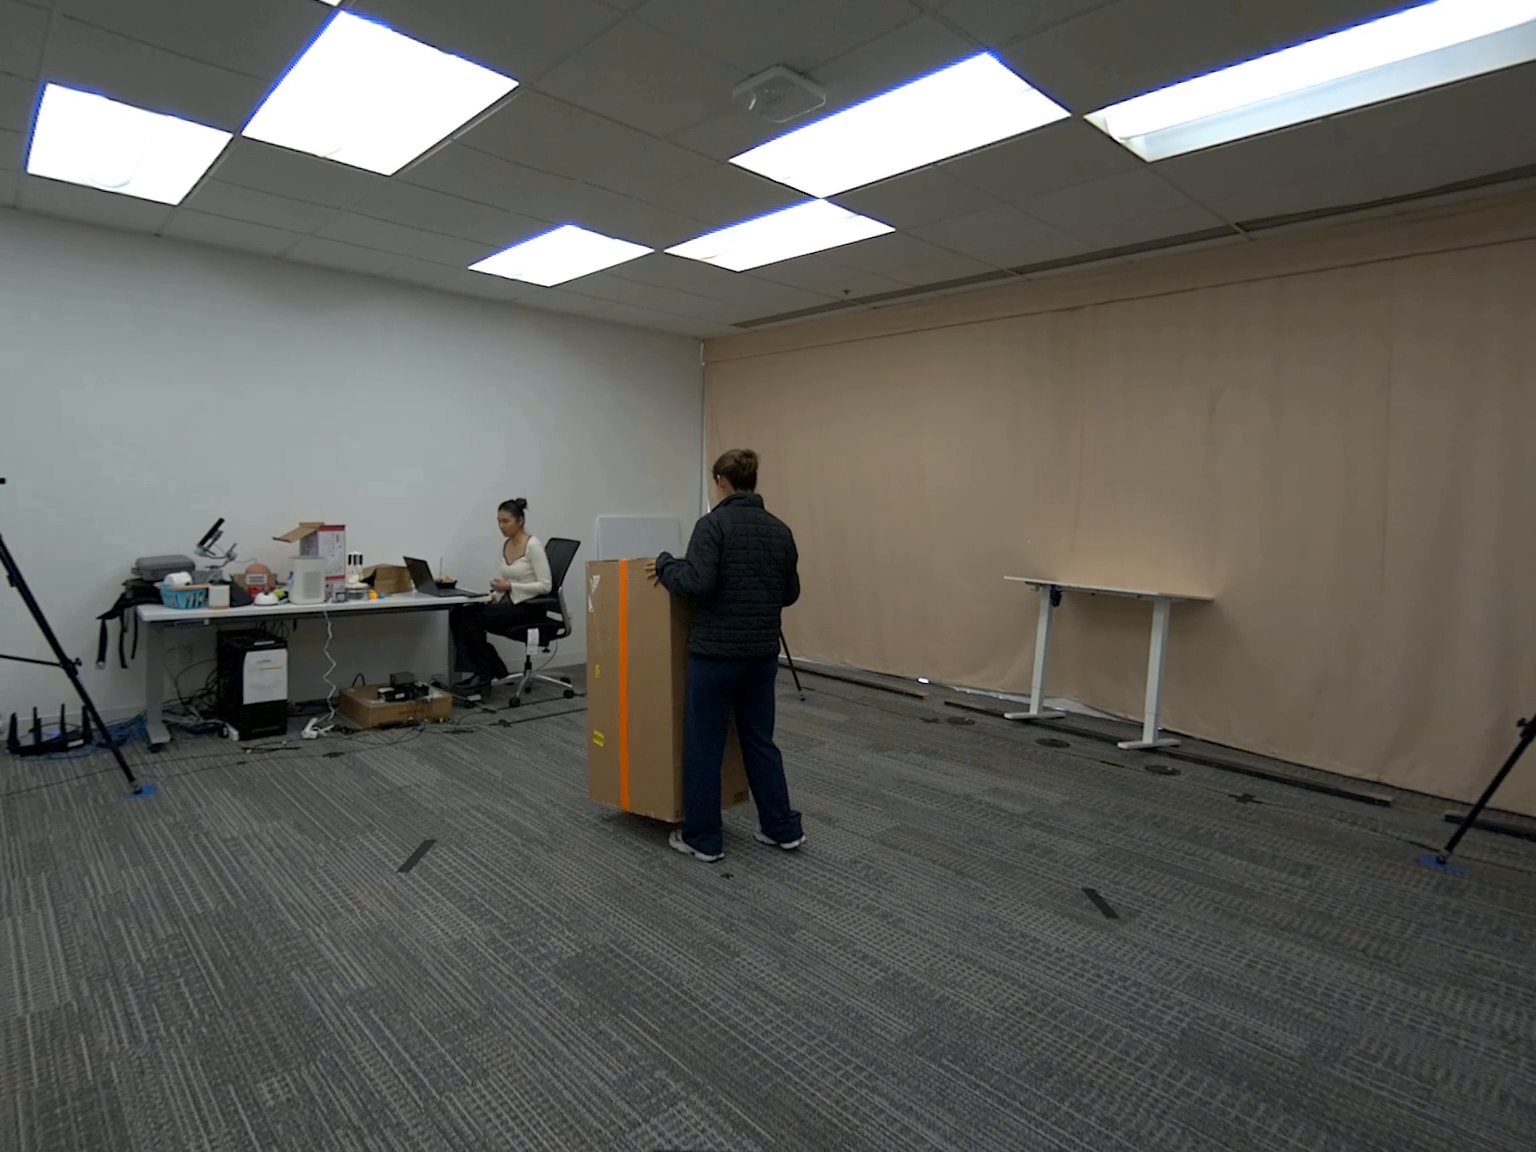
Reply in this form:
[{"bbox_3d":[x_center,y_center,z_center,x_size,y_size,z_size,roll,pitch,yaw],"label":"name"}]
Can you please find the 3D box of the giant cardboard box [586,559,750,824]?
[{"bbox_3d":[-0.445,0.446,3.575,0.416,1.028,0.590,1,-4,-45],"label":"giant cardboard box"}]
